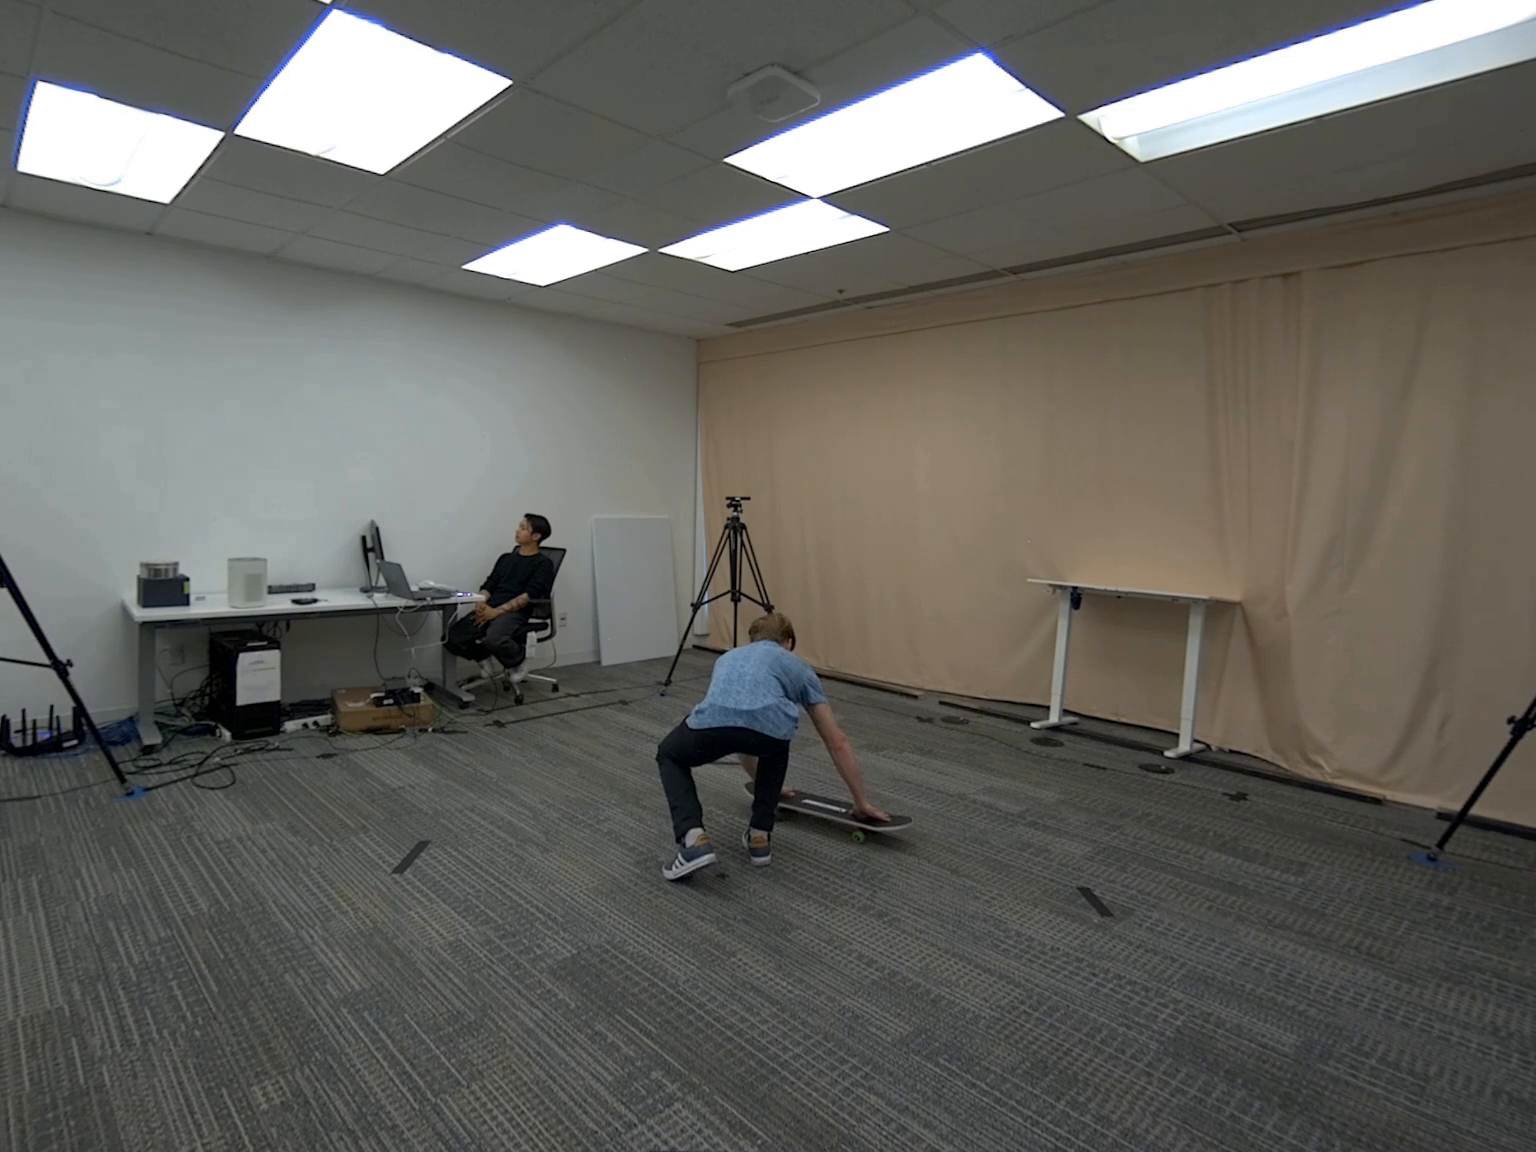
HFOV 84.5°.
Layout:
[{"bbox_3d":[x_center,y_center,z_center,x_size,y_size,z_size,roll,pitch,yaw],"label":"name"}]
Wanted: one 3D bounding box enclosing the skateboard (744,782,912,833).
[{"bbox_3d":[0.231,1.020,3.614,0.804,0.110,0.189,5,4,33],"label":"skateboard"}]
